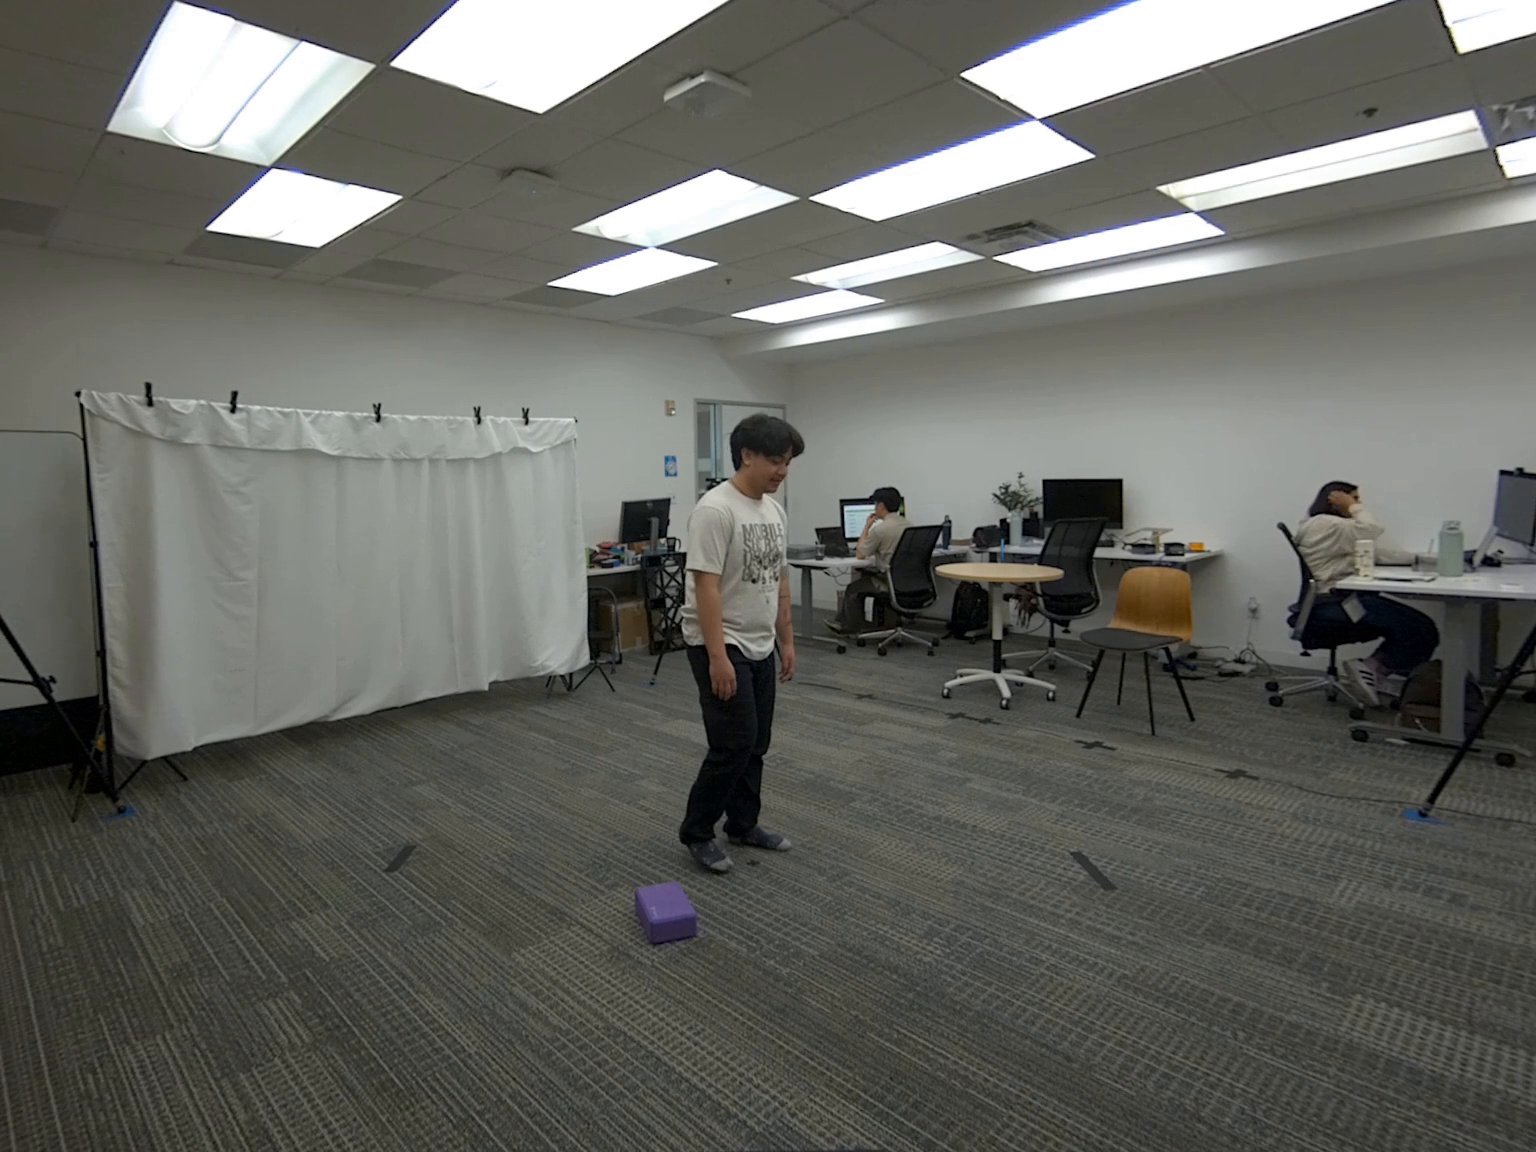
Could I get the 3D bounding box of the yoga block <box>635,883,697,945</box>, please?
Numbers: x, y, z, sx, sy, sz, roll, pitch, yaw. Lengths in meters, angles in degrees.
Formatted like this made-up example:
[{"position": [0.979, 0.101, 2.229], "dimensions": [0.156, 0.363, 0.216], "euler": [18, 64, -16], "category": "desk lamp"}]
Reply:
[{"position": [-0.319, 1.055, 2.691], "dimensions": [0.146, 0.076, 0.234], "euler": [-2, 7, -19], "category": "yoga block"}]
